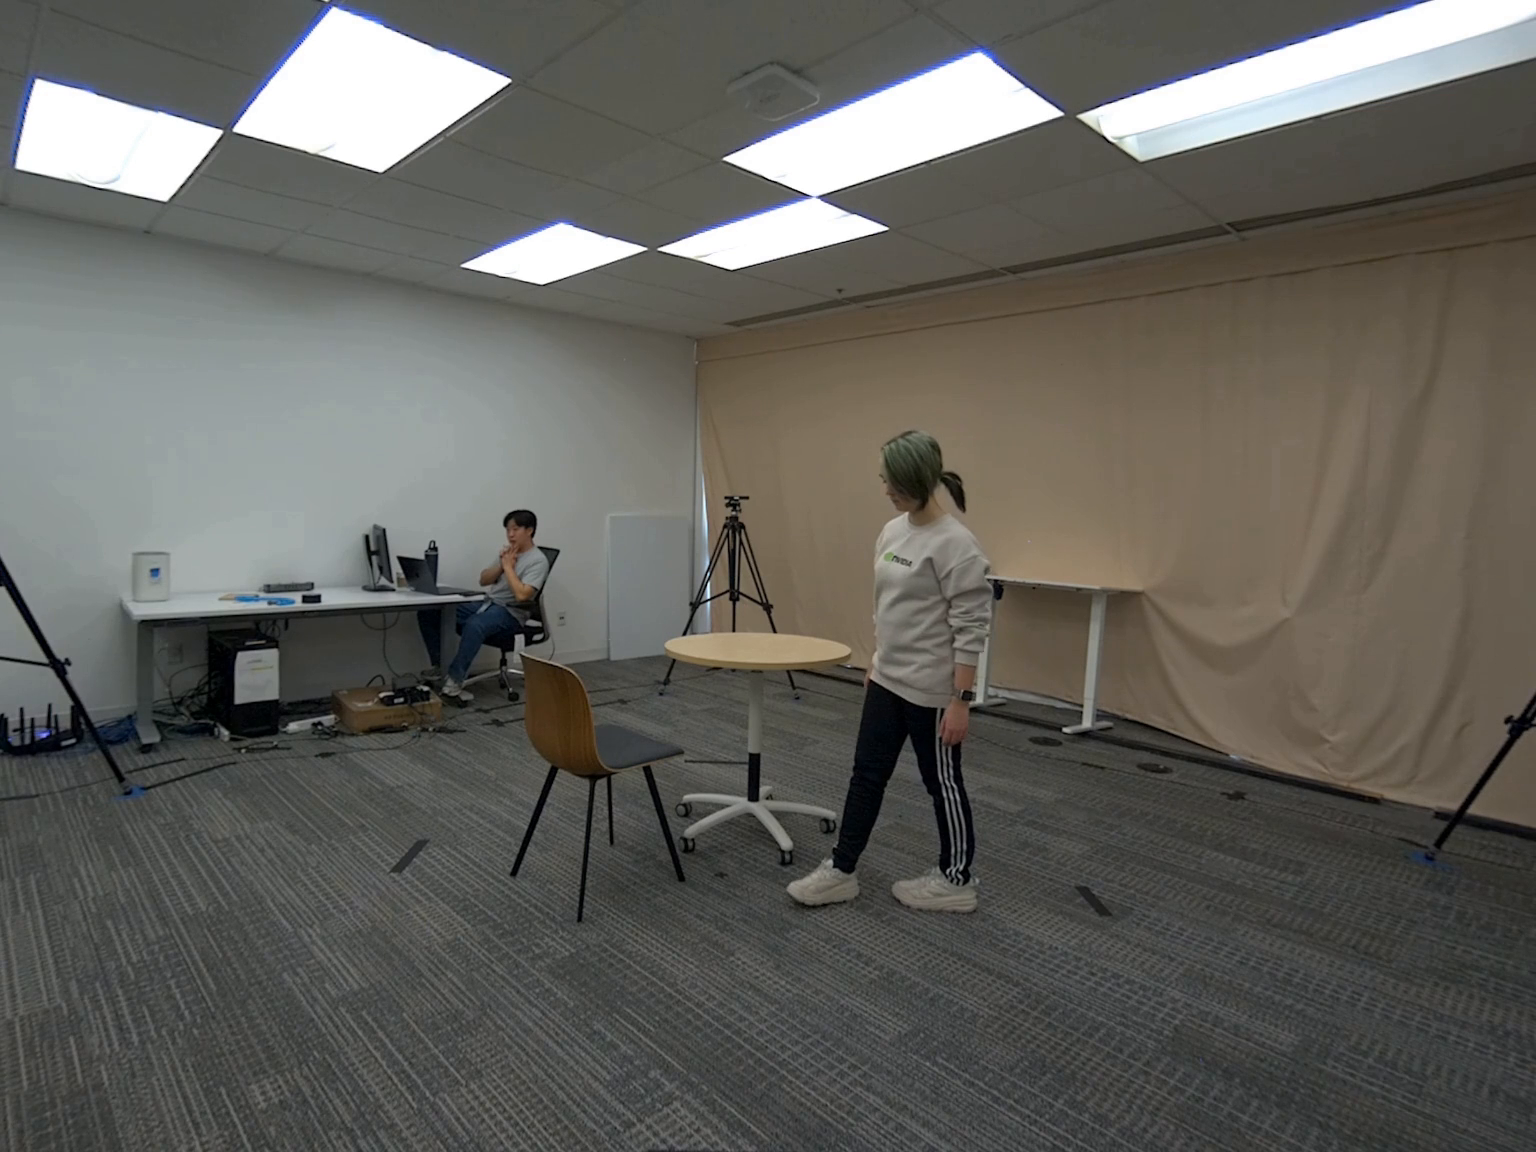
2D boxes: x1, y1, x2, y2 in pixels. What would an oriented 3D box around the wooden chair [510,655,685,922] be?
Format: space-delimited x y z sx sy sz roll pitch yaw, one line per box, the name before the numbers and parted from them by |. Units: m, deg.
wooden chair | -0.604 0.667 3.027 0.512 0.873 0.490 -7 8 -44
